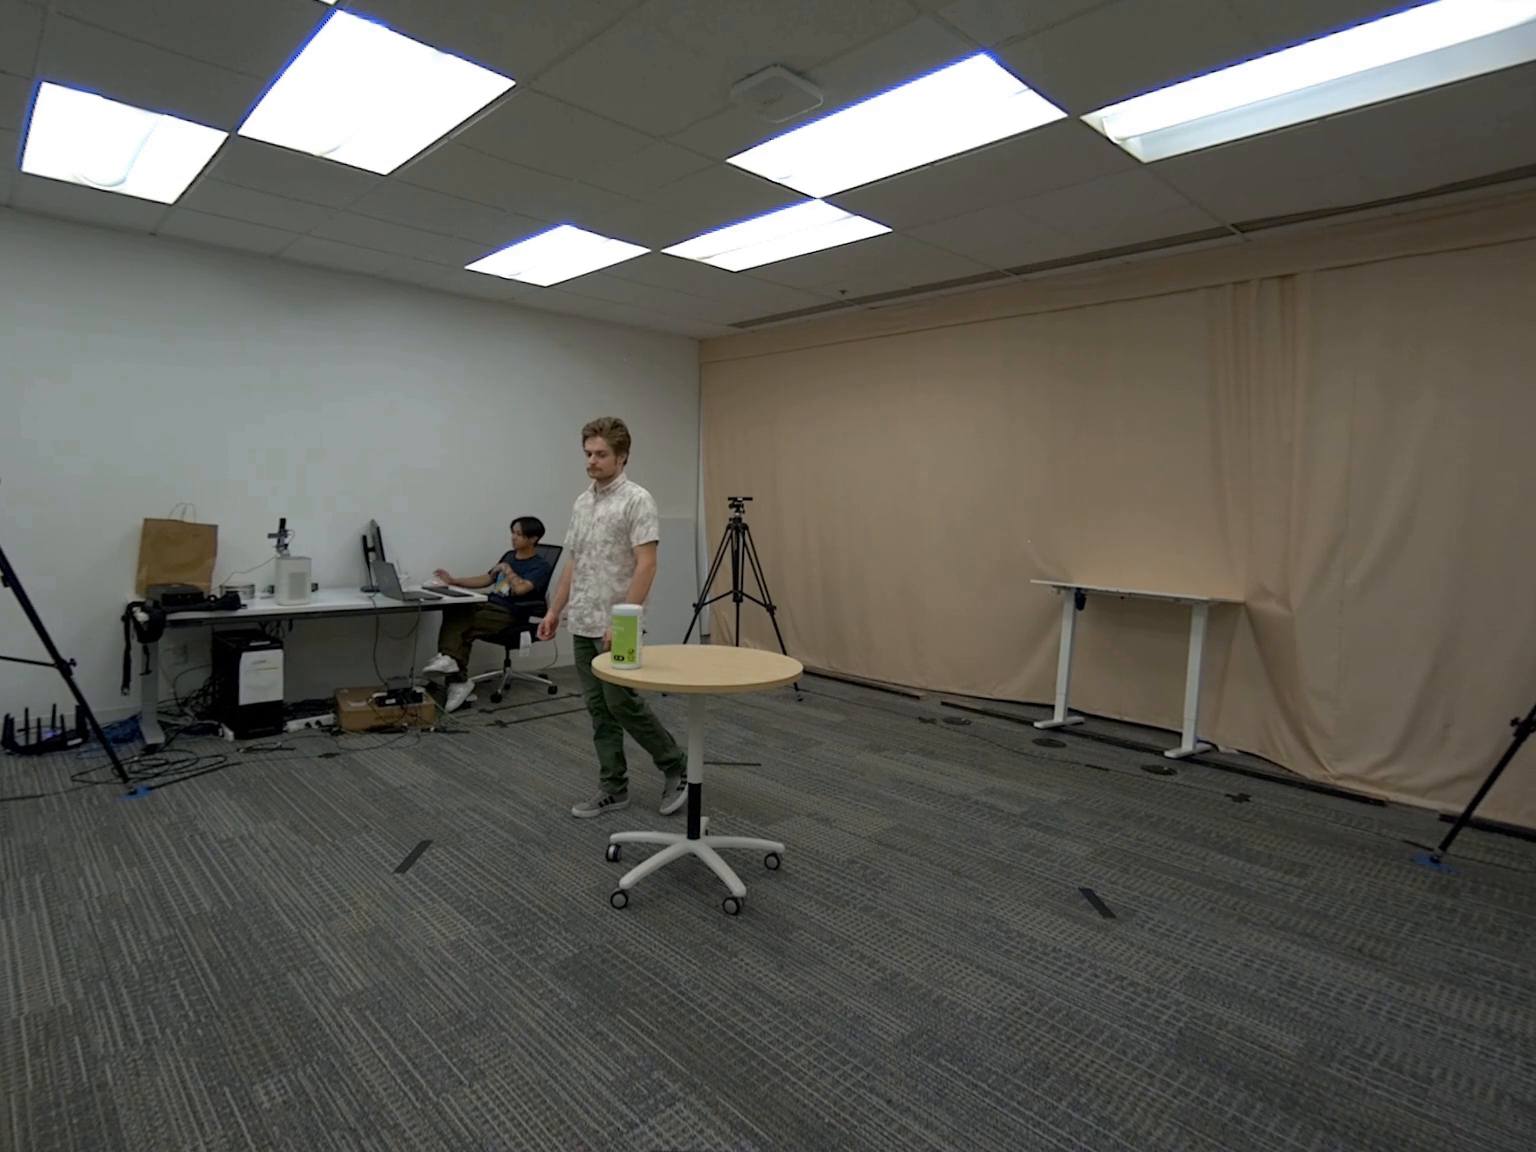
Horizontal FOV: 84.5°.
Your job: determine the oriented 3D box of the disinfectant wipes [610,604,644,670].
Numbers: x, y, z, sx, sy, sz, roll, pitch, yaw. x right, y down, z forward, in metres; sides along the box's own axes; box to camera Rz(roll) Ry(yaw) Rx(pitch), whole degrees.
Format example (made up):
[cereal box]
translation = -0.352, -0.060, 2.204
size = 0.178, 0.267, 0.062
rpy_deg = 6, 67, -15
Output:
[disinfectant wipes]
translation = -0.496, 0.212, 2.944
size = 0.118, 0.217, 0.118
rpy_deg = 2, 4, -2
